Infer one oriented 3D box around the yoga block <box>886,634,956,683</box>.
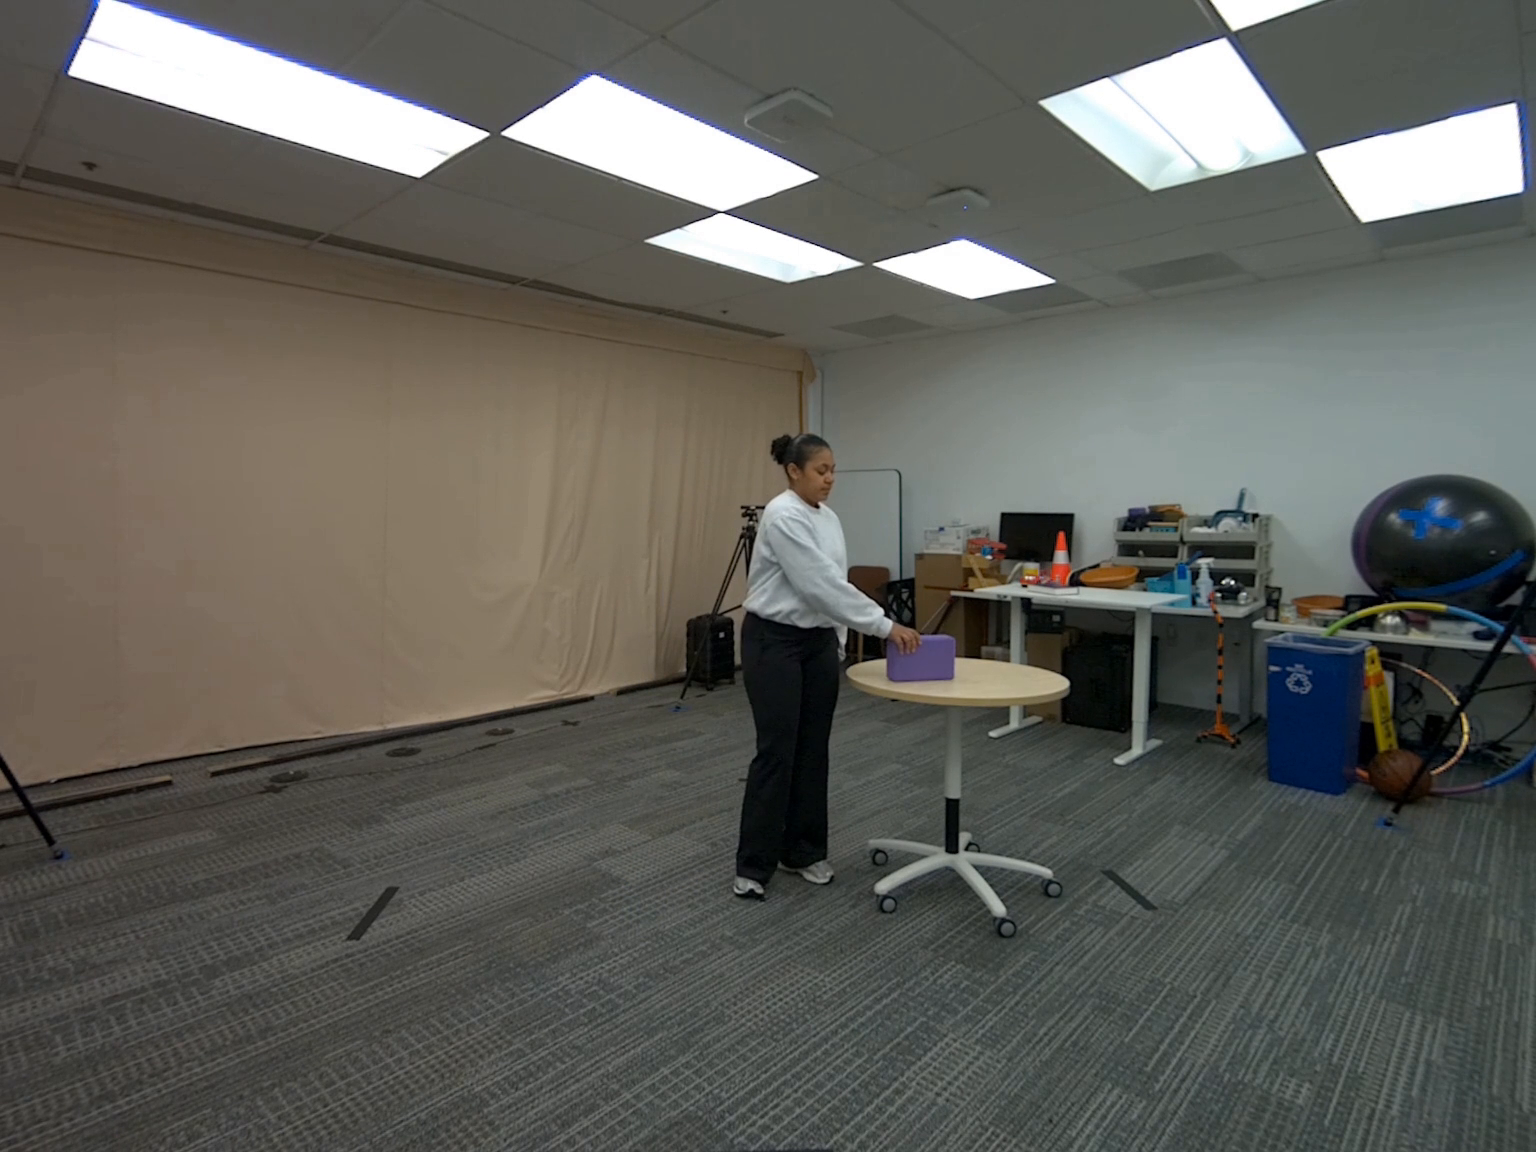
[{"bbox_3d":[0.540,0.273,2.922,0.227,0.148,0.077,-3,6,-8],"label":"yoga block"}]
